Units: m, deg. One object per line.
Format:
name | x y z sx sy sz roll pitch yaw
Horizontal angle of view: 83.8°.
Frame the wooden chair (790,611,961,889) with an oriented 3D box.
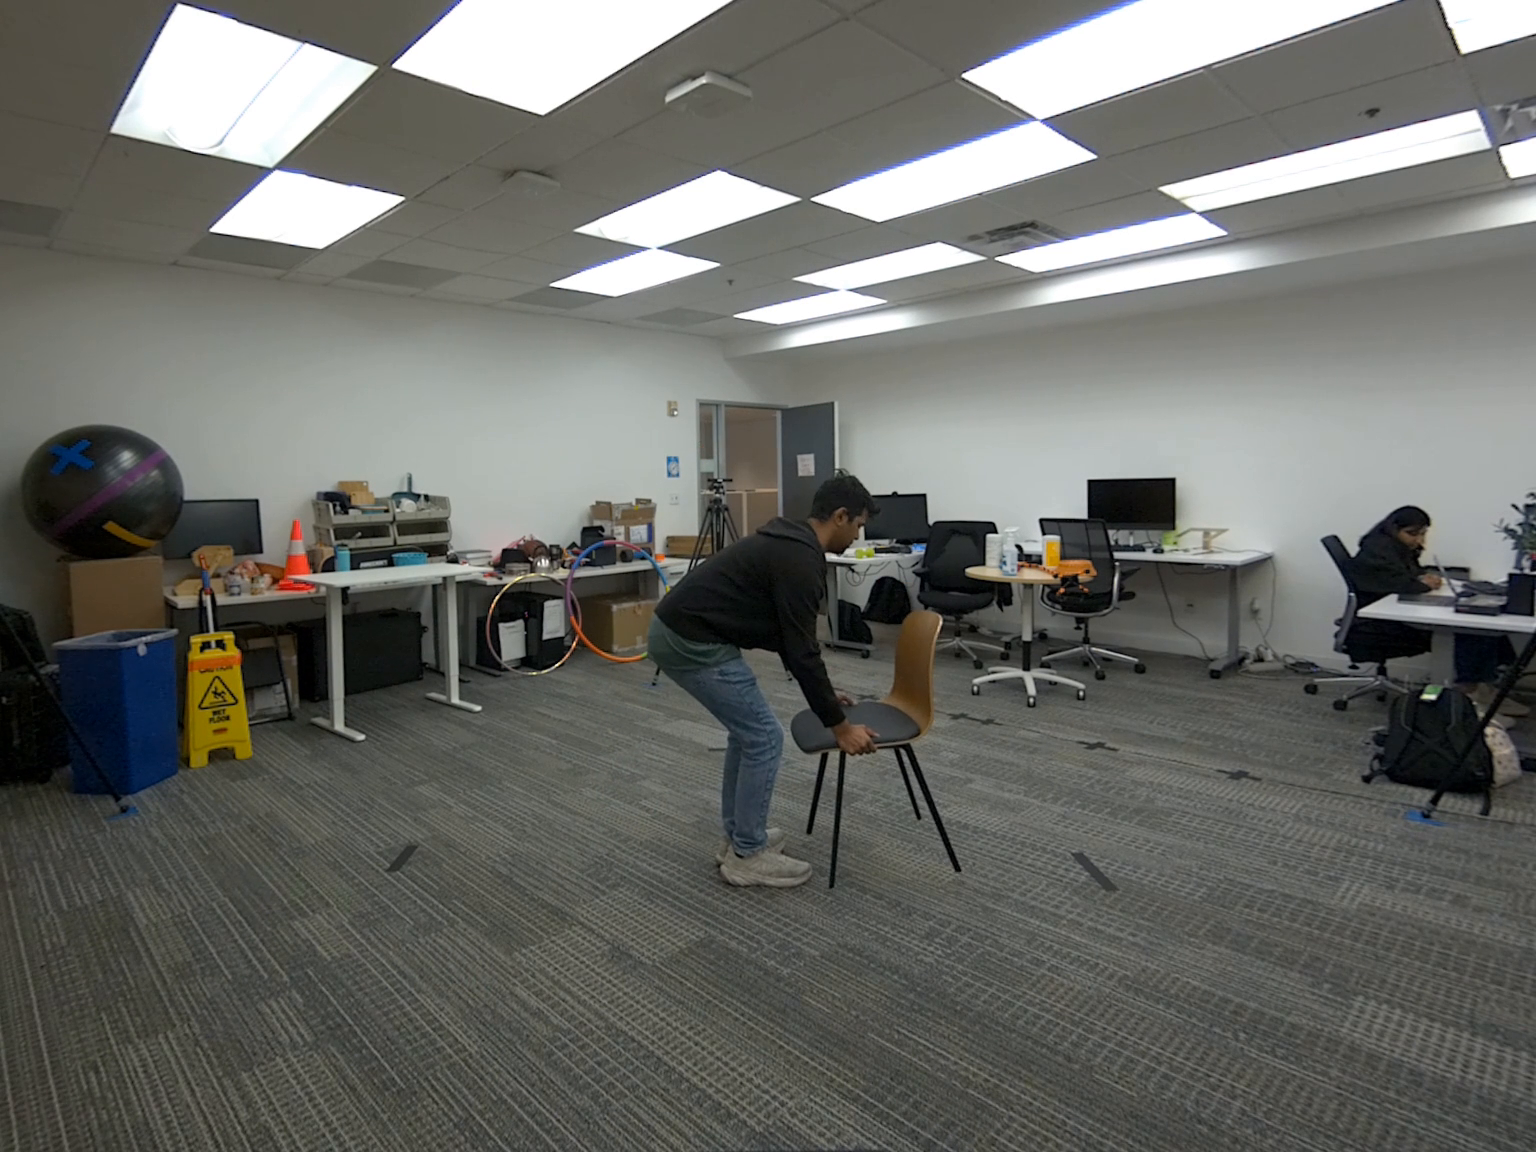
wooden chair | 0.355 0.566 3.059 0.520 0.874 0.483 -2 5 -7
